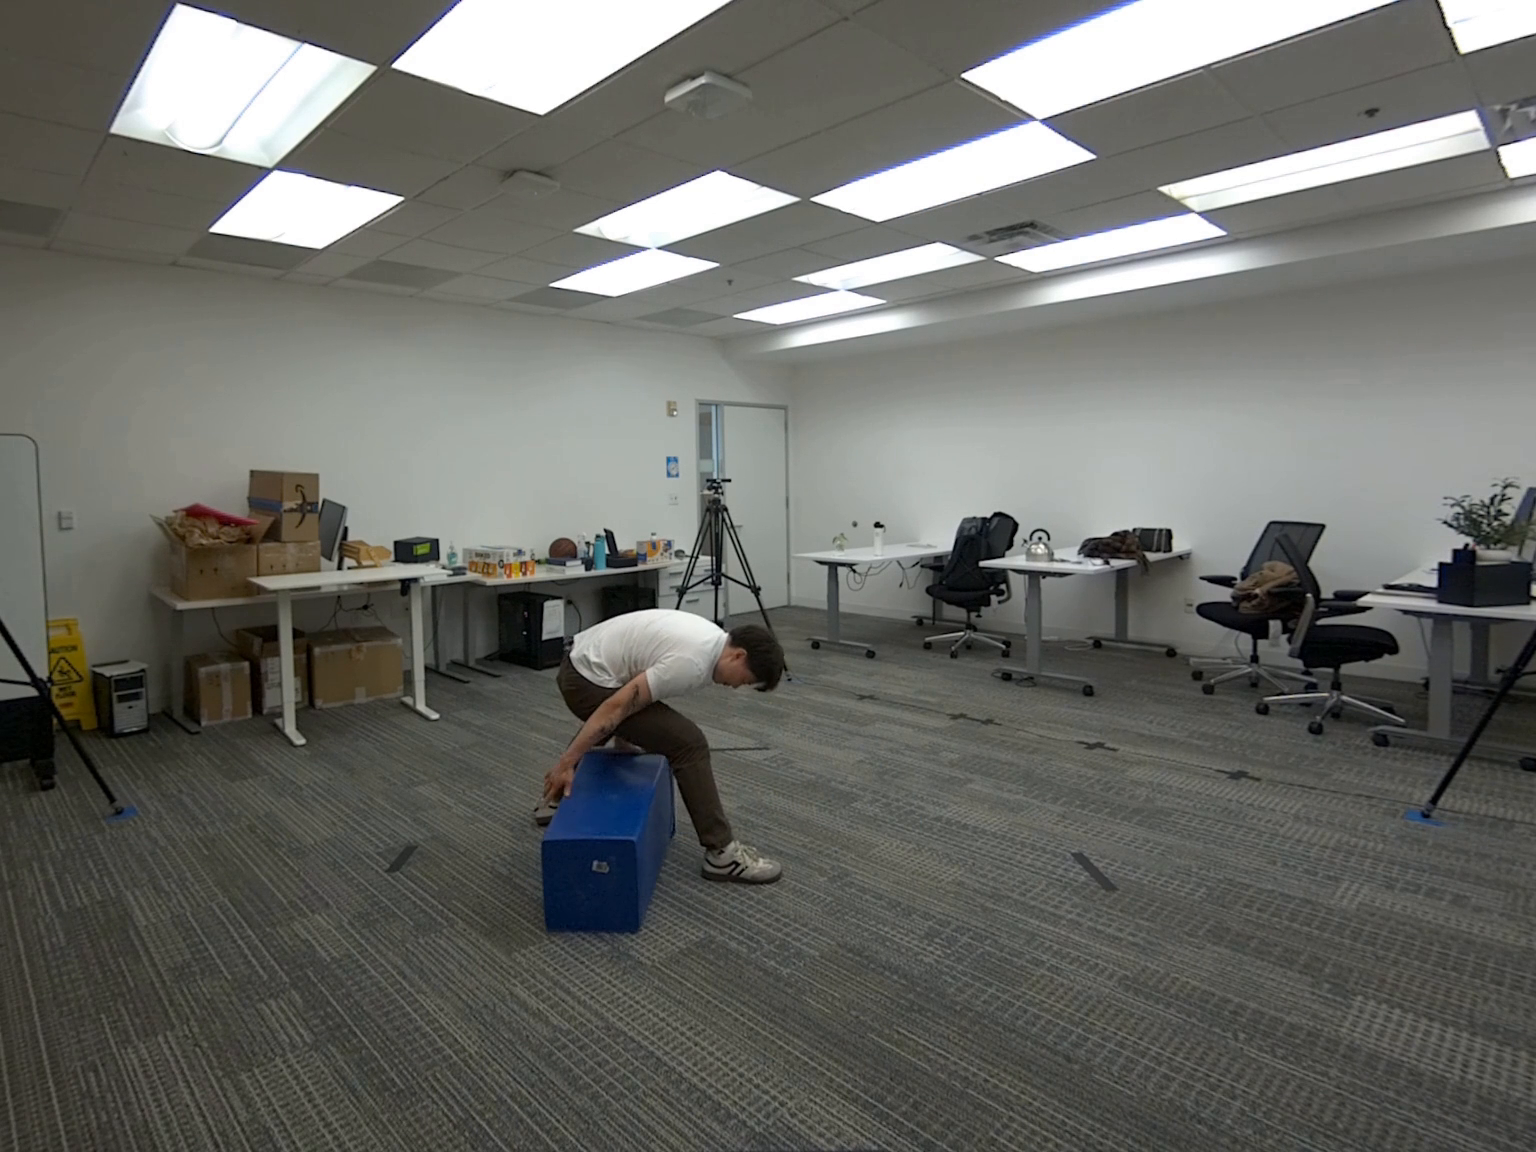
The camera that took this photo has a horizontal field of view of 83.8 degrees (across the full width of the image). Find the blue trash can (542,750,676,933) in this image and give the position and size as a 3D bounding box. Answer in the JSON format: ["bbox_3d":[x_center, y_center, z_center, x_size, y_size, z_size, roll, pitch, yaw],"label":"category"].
[{"bbox_3d":[-0.550,0.897,2.981,0.375,0.376,0.716,0,7,1],"label":"blue trash can"}]
